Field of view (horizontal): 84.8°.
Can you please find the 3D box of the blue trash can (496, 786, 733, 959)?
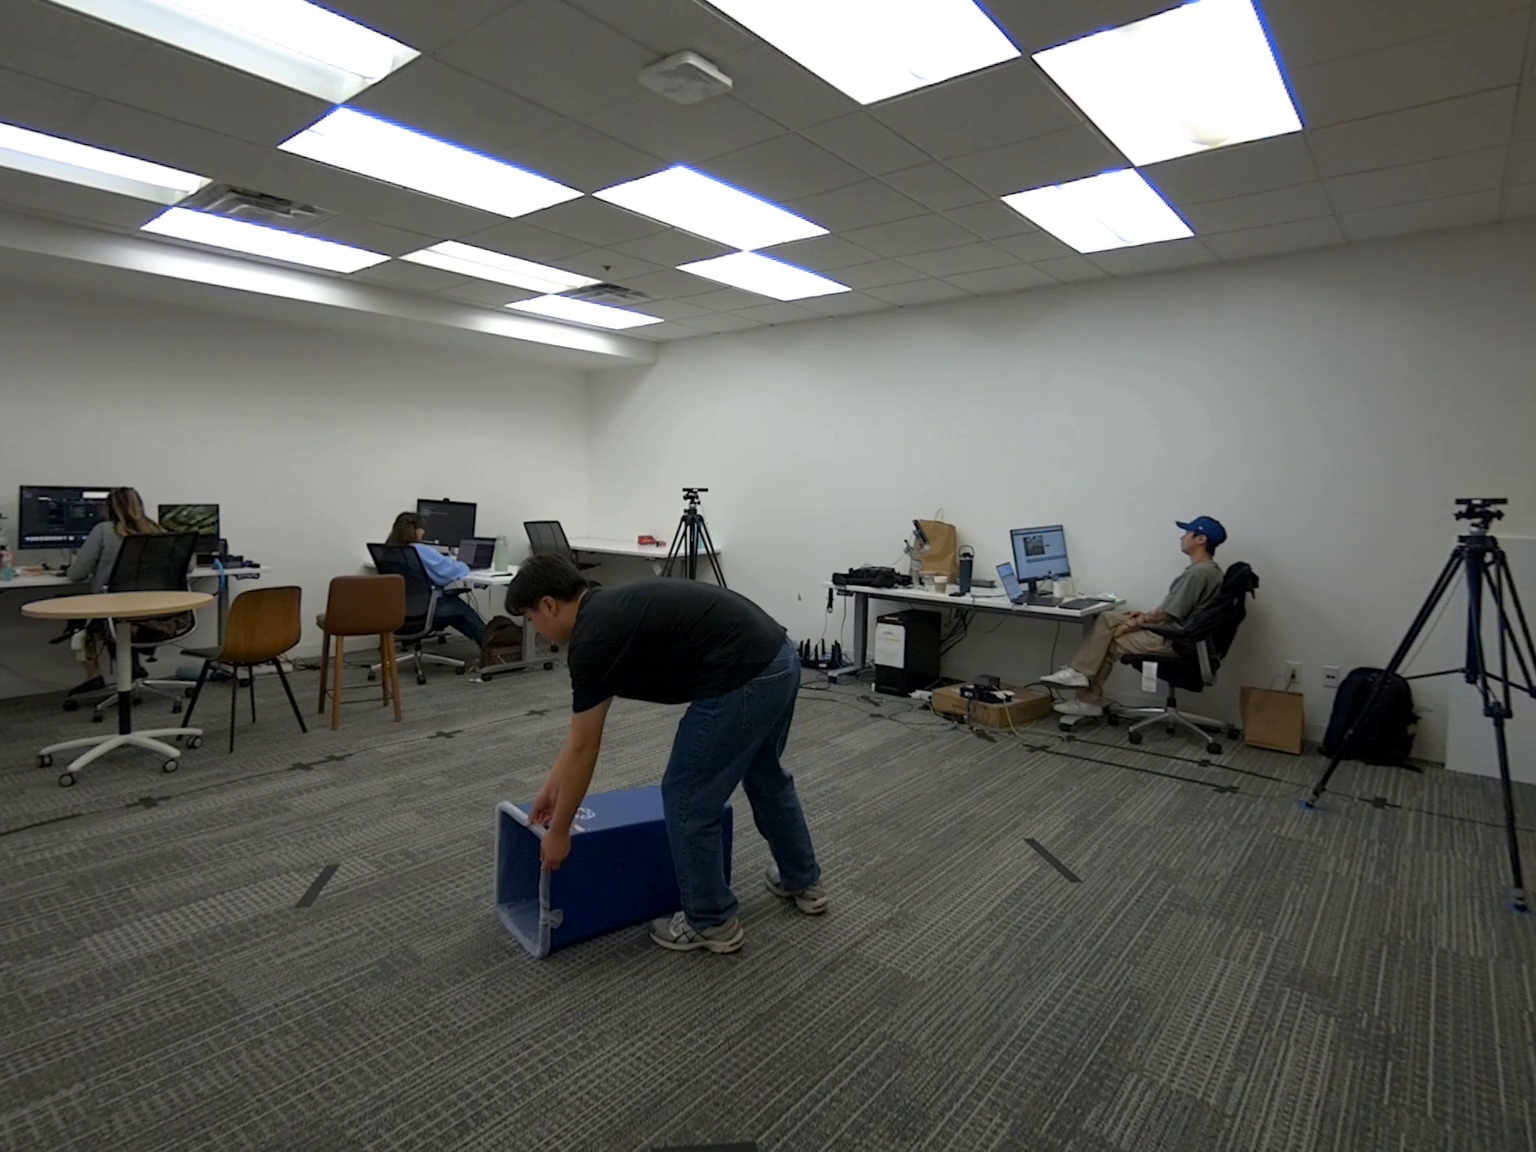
[{"bbox_3d":[-0.513,0.925,2.833,0.691,0.378,0.386,1,2,-38],"label":"blue trash can"}]
